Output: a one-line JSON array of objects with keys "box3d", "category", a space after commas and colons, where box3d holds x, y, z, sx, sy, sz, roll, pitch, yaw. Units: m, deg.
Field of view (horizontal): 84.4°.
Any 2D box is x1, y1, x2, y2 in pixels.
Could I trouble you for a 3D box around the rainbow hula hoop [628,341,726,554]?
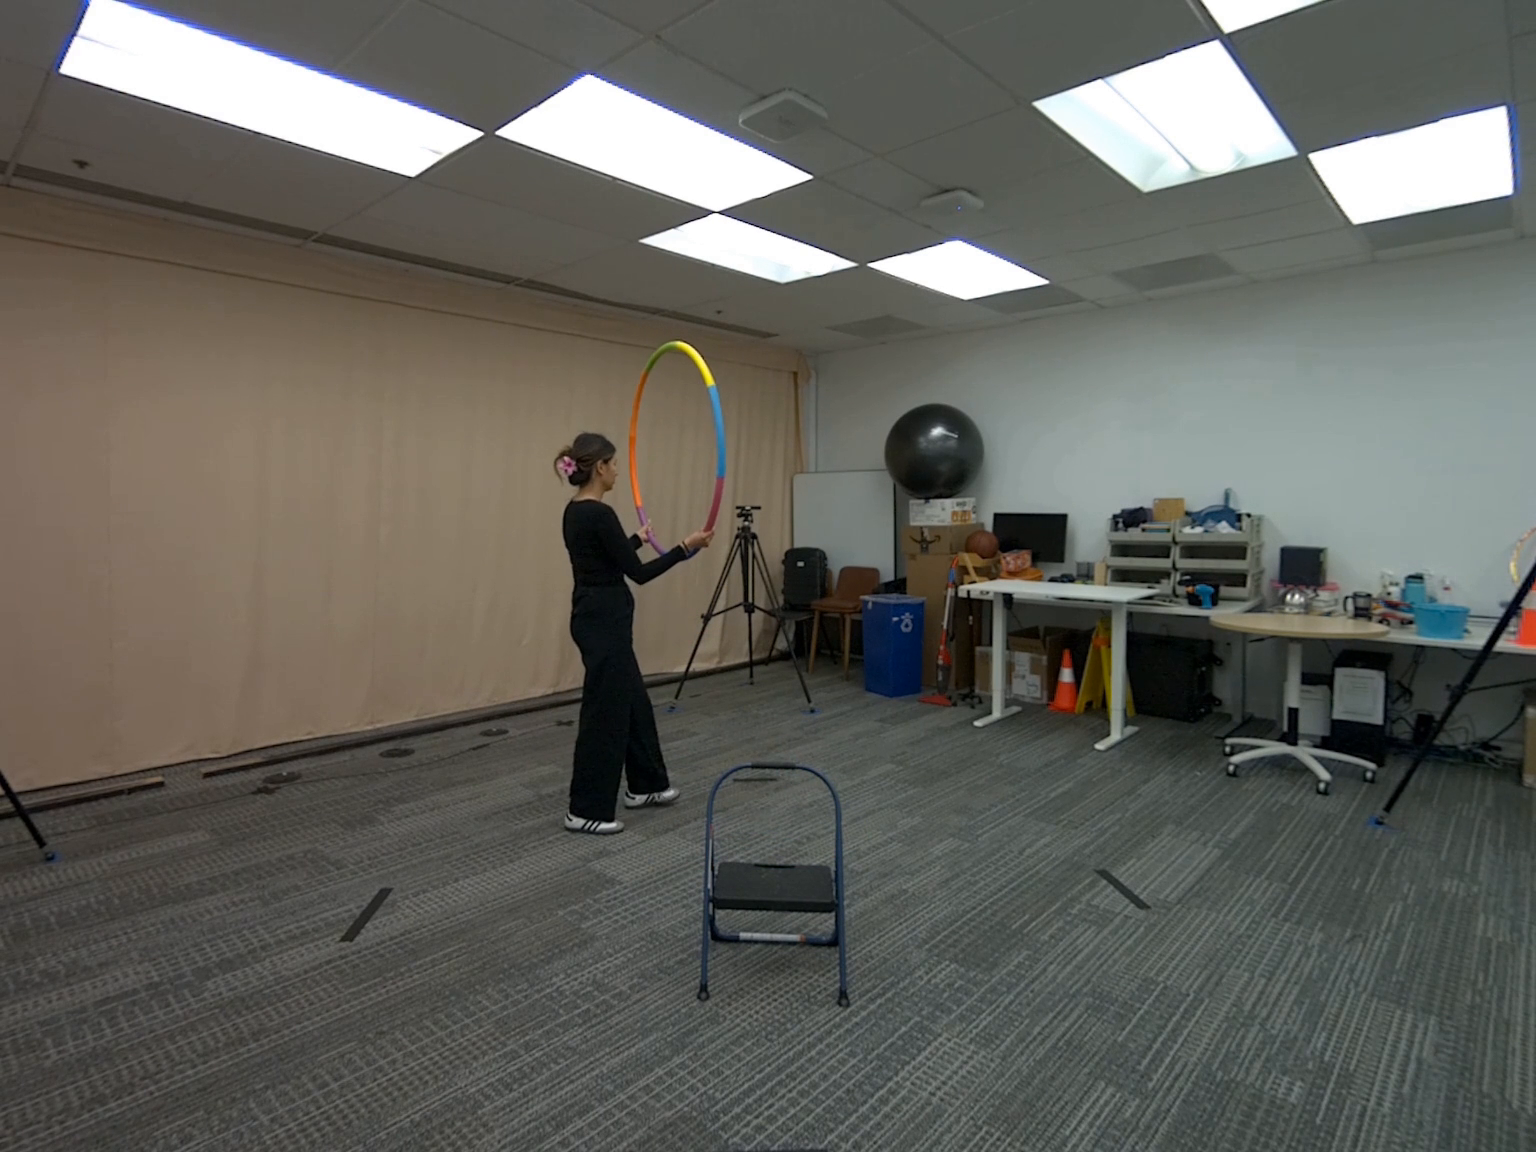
[{"box3d": [-0.423, -0.550, 3.811, 0.034, 0.975, 1.006, -4, 6, -29], "category": "rainbow hula hoop"}]
